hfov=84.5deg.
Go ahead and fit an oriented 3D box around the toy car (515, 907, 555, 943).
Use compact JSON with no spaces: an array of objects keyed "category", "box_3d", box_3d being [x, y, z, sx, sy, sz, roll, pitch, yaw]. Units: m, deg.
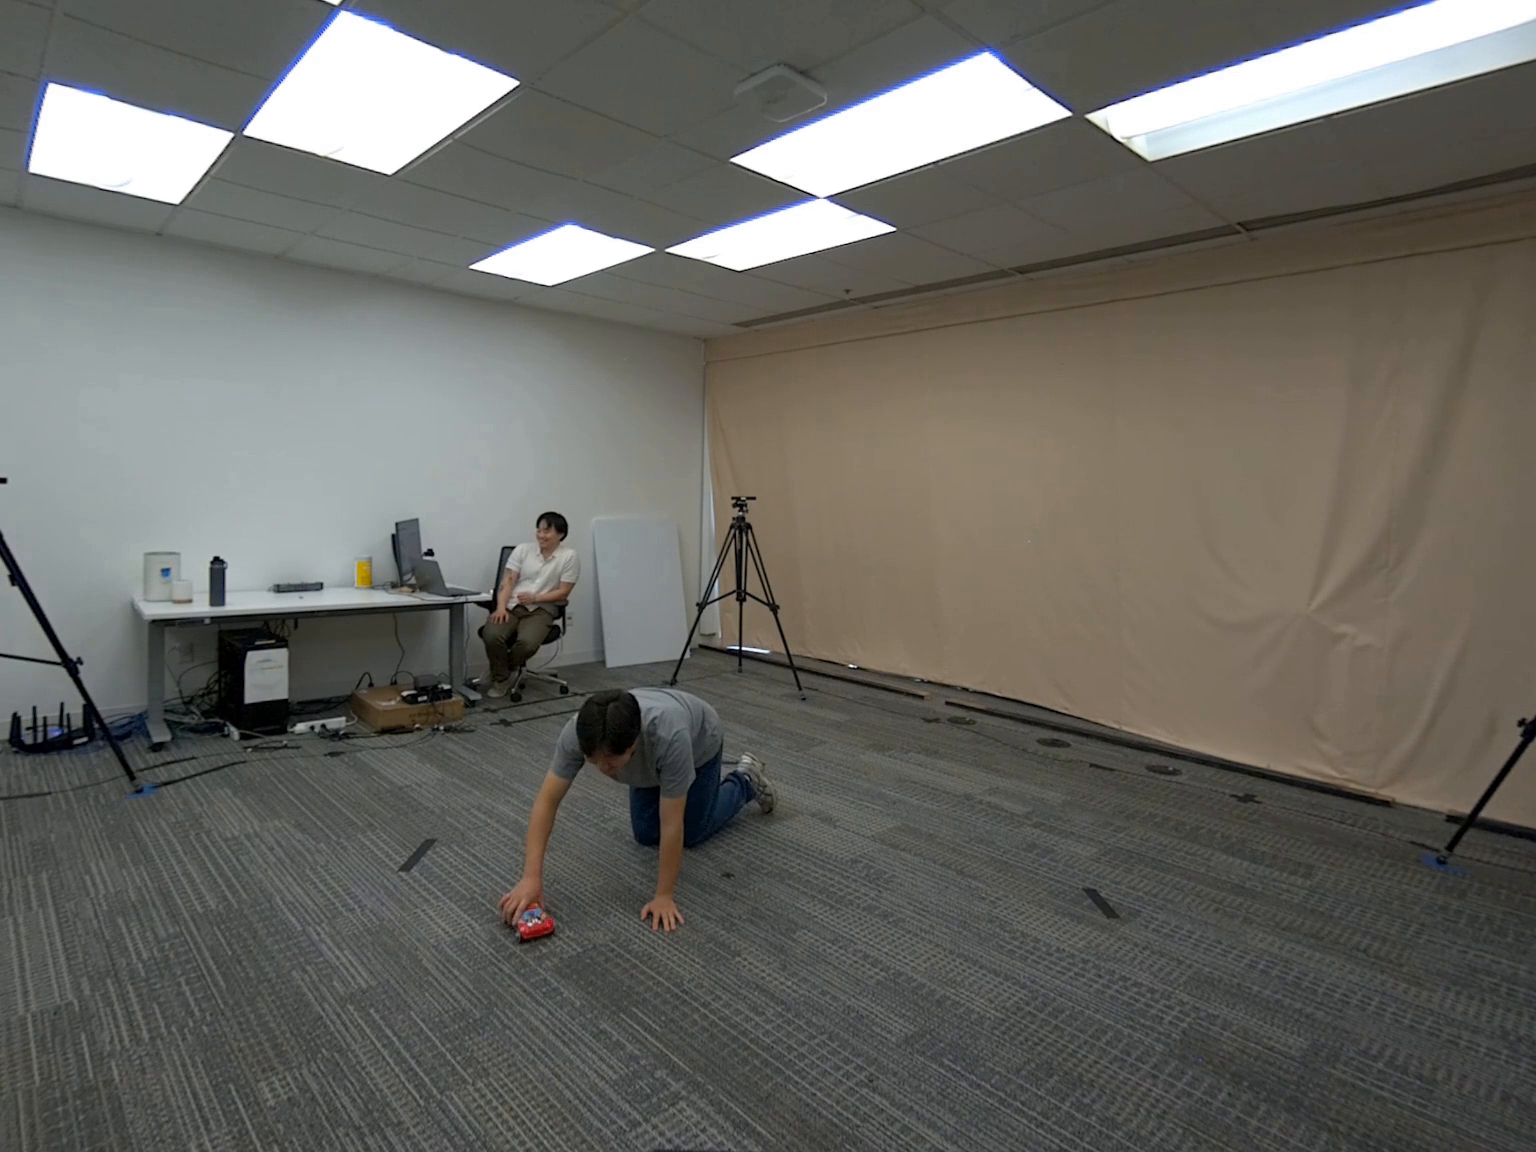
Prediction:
[{"category":"toy car","box_3d":[-0.788,1.097,2.718,0.128,0.082,0.262,-3,17,-32]}]
